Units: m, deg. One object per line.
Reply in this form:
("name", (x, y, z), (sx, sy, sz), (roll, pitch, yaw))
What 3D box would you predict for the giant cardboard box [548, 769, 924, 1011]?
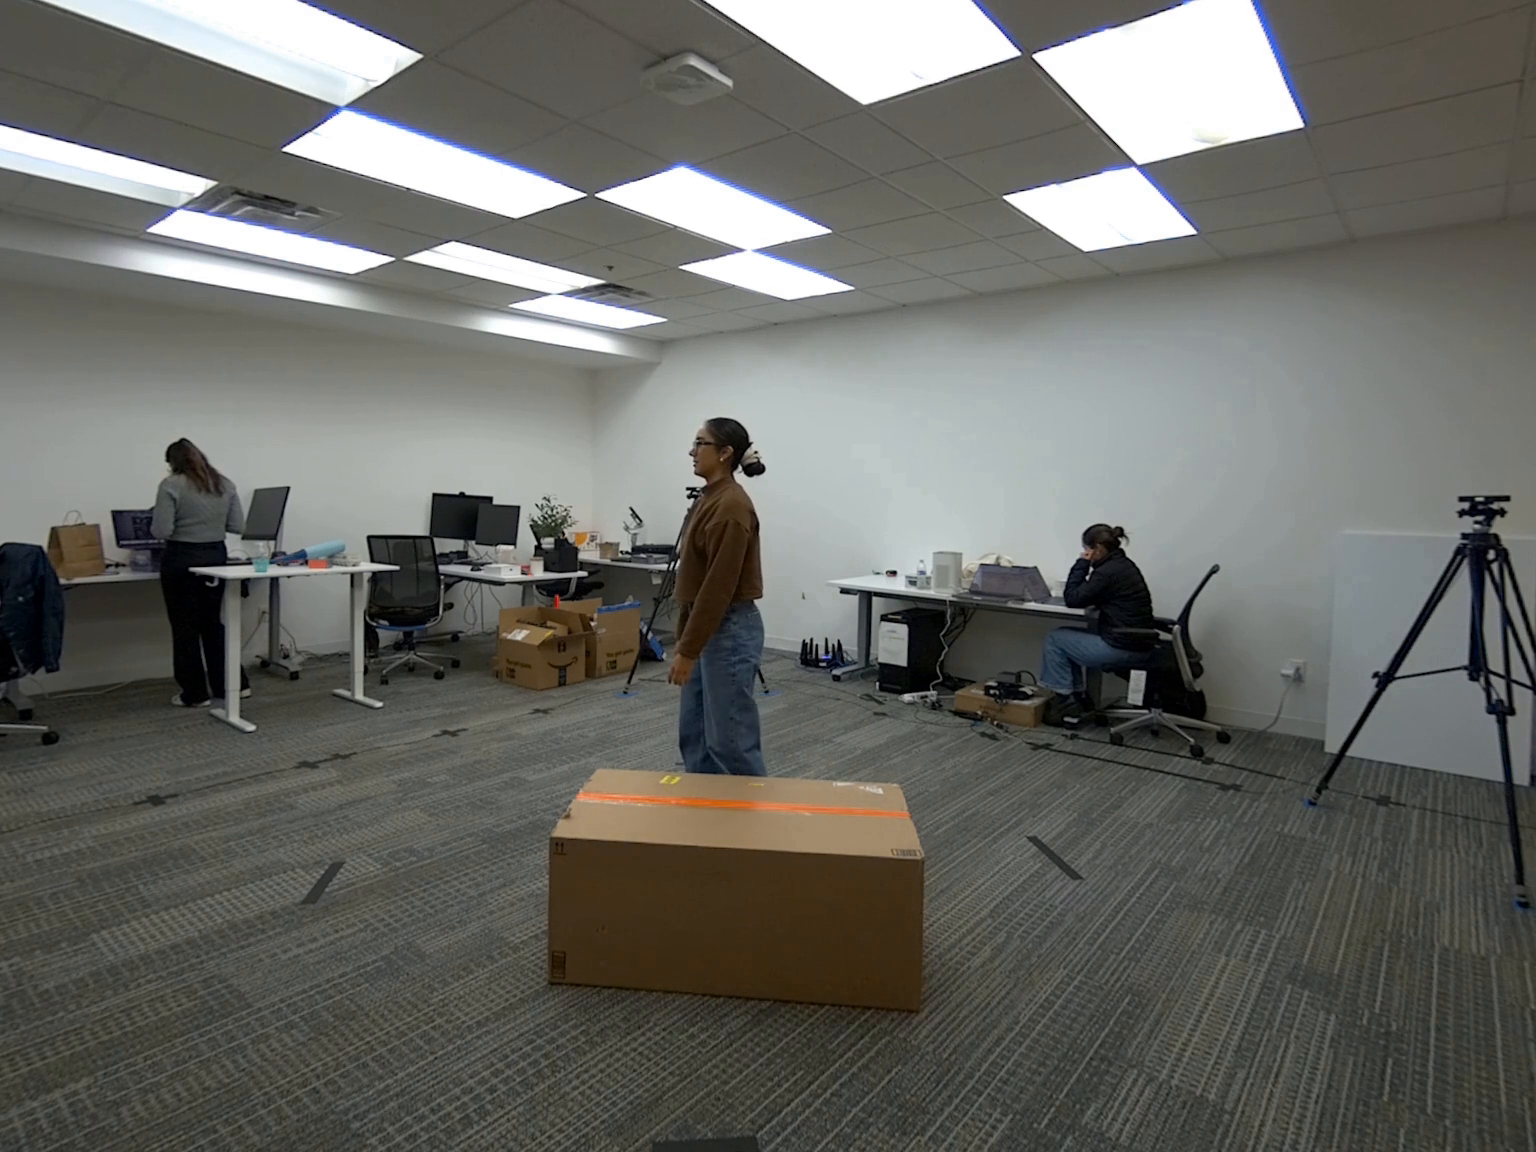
("giant cardboard box", (-0.094, 0.904, 2.582), (1.031, 0.425, 0.576), (1, 4, 4))
